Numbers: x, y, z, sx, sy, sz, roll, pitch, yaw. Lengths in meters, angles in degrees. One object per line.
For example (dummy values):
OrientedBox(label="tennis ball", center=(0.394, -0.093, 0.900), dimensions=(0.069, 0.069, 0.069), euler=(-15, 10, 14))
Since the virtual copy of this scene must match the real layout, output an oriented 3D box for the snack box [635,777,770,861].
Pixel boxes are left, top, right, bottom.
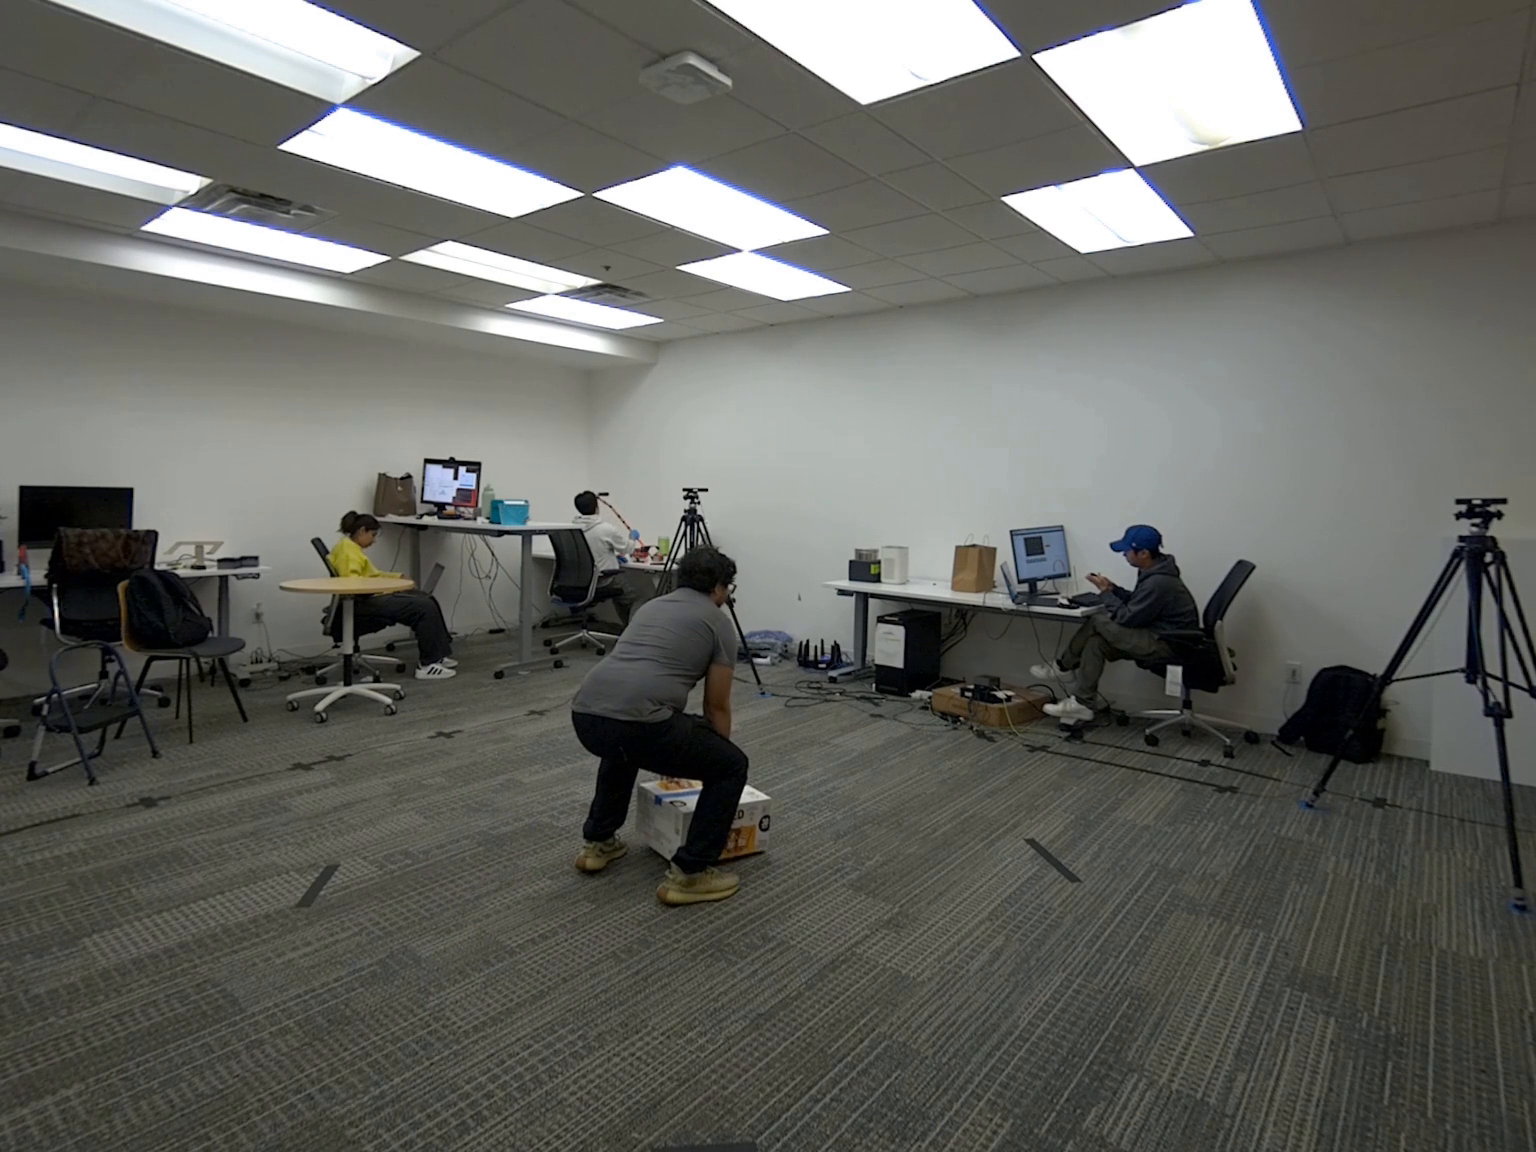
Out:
OrientedBox(label="snack box", center=(-0.263, 0.921, 3.285), dimensions=(0.393, 0.205, 0.352), euler=(0, 5, -36))
